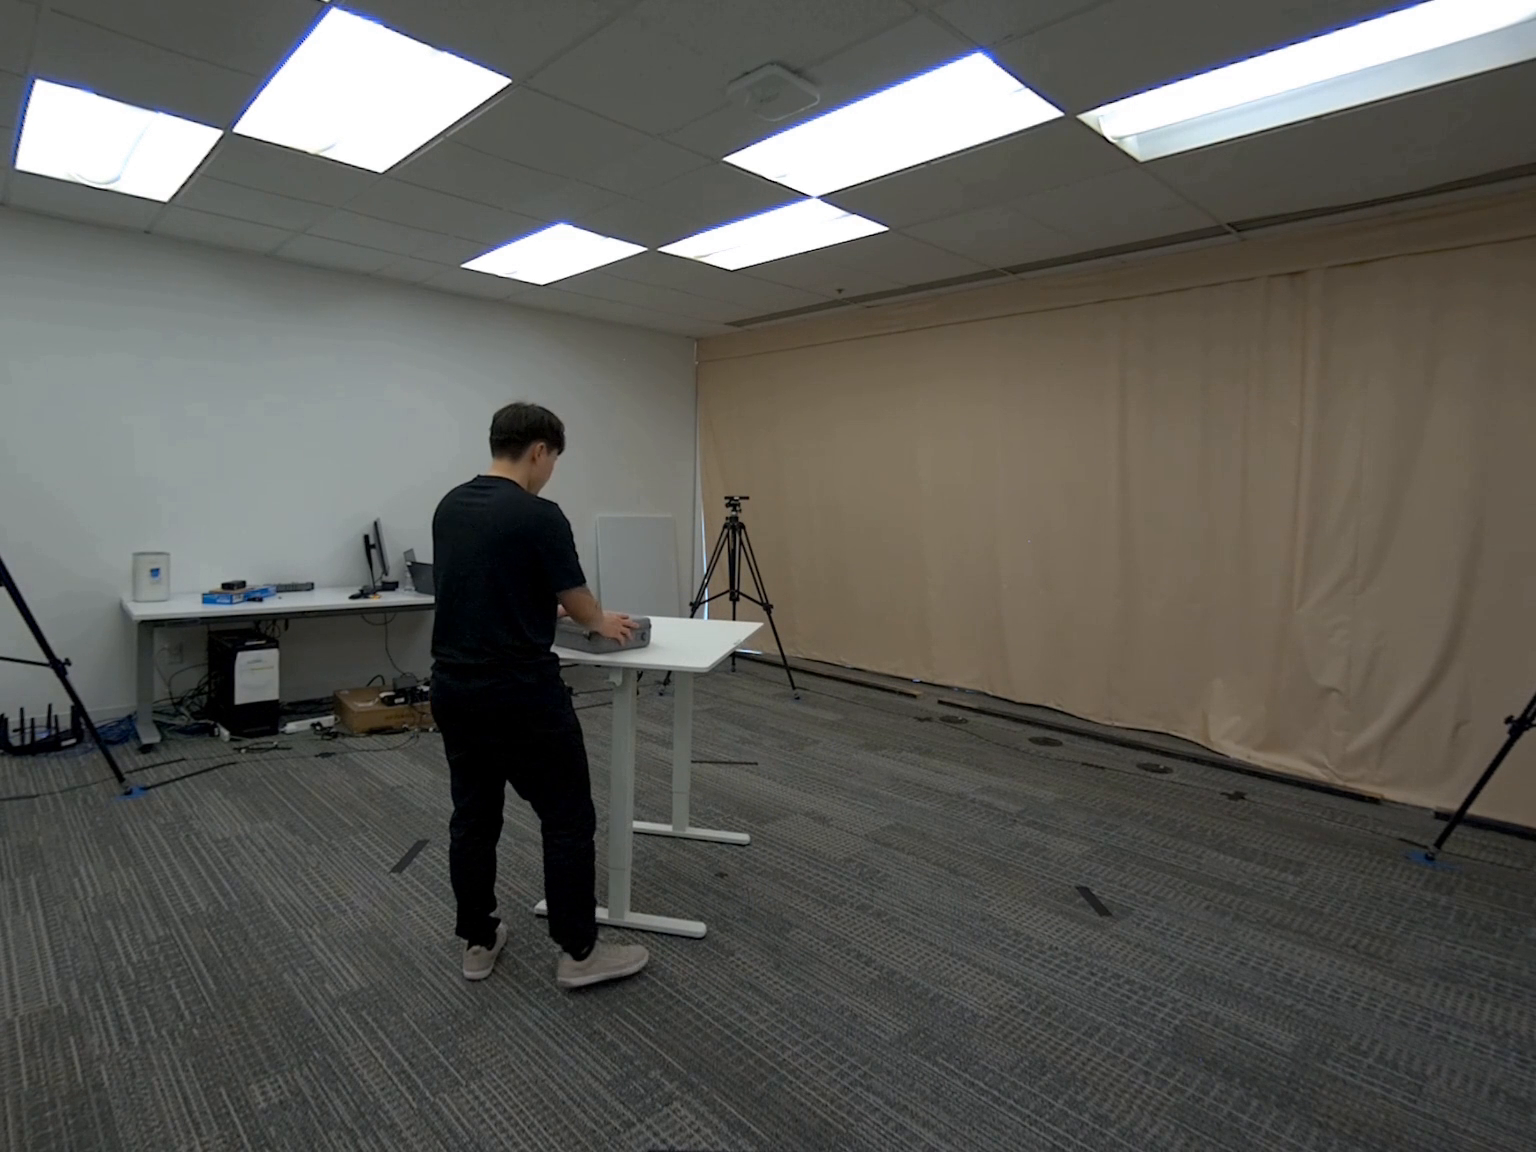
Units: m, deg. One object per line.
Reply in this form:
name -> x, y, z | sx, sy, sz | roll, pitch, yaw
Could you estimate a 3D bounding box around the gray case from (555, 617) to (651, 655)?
gray case -> -0.554, 0.188, 2.827 | 0.263, 0.104, 0.255 | 3, 5, 37
